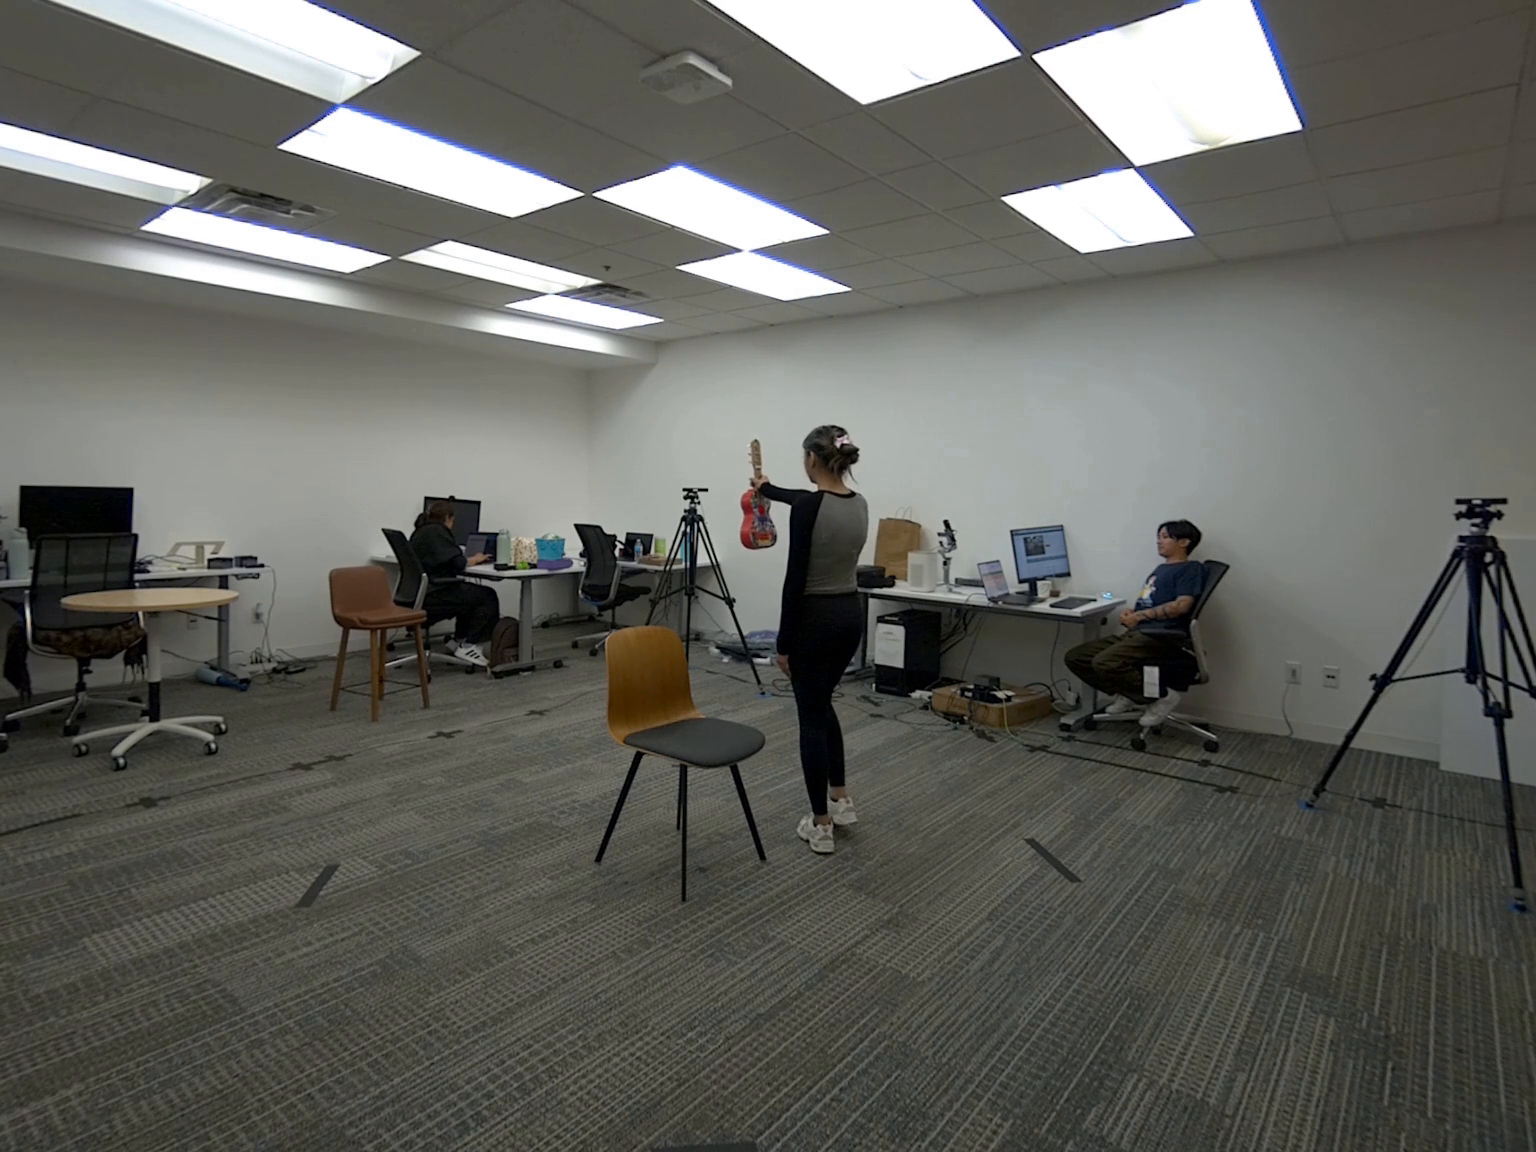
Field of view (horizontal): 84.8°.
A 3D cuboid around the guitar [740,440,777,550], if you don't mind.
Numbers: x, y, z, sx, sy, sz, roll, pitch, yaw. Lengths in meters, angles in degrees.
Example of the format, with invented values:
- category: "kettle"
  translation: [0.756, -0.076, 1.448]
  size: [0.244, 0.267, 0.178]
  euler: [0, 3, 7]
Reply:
- category: "guitar"
  translation: [-0.048, -0.372, 3.915]
  size: [0.073, 0.502, 0.186]
  euler: [-6, -13, 41]
